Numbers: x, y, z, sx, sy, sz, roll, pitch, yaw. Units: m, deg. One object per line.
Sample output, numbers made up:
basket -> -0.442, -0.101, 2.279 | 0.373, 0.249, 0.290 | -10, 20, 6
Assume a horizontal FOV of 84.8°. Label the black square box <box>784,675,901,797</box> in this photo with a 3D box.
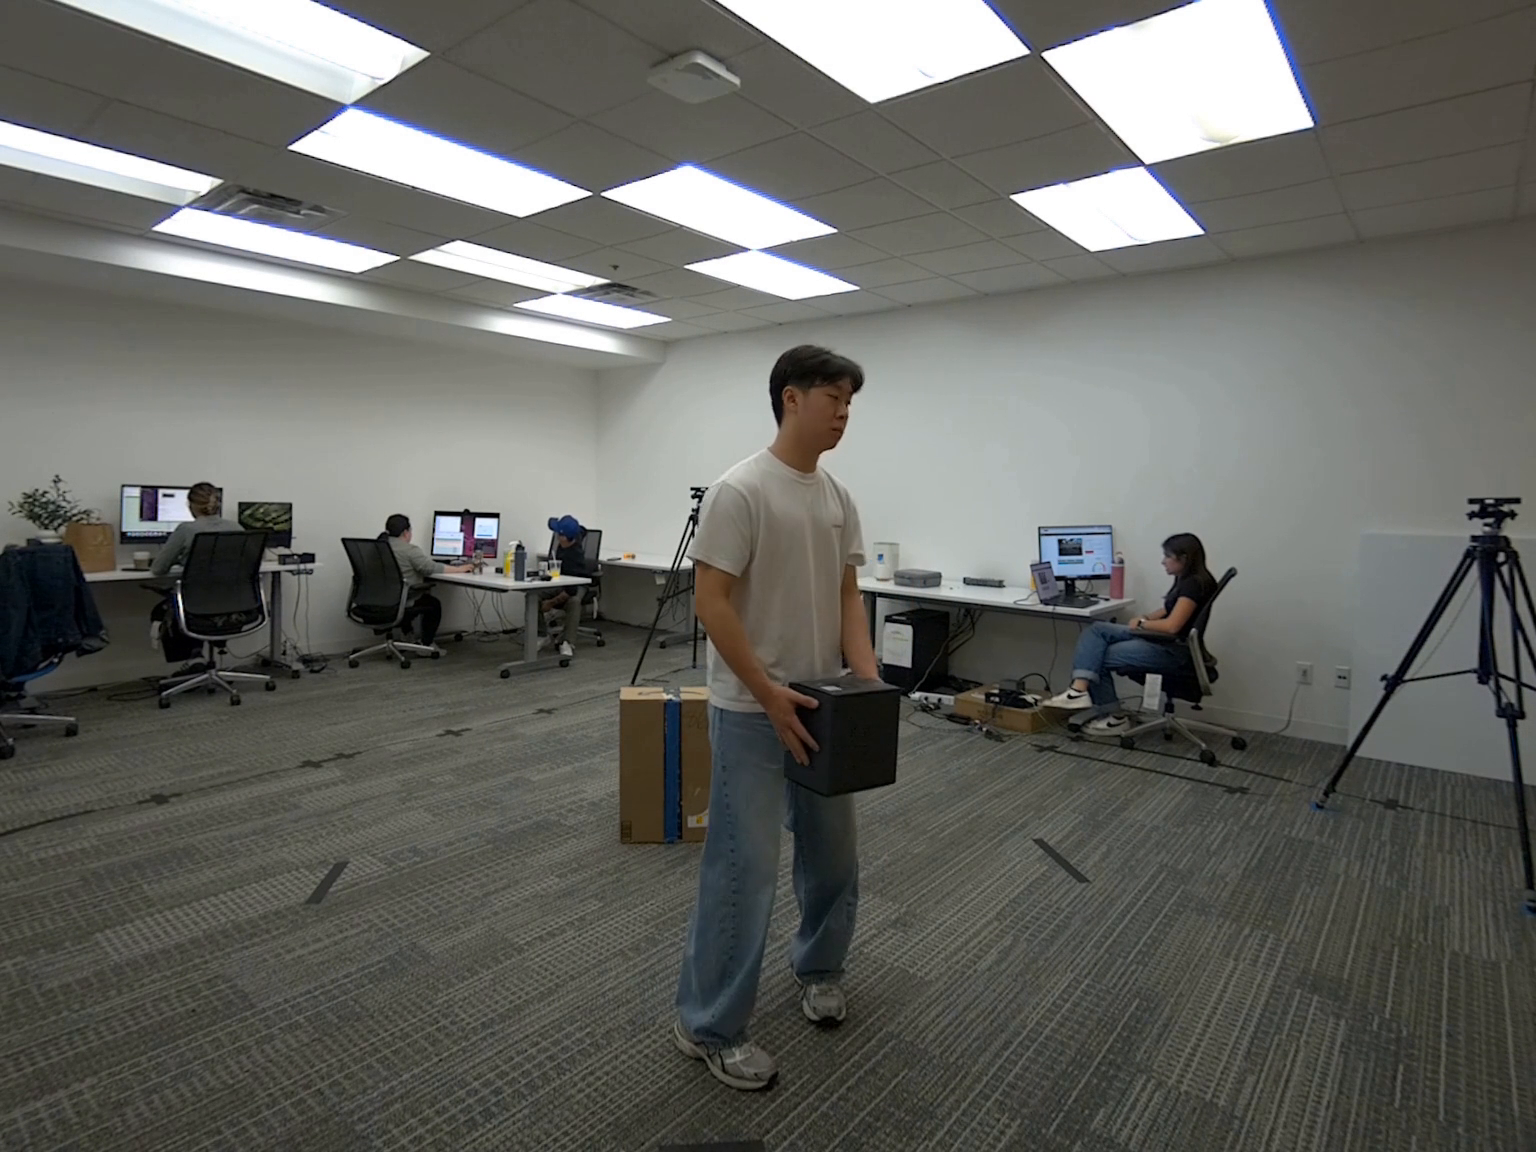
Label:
black square box -> 0.160, 0.362, 1.988 | 0.210, 0.227, 0.161 | 1, 3, -37
